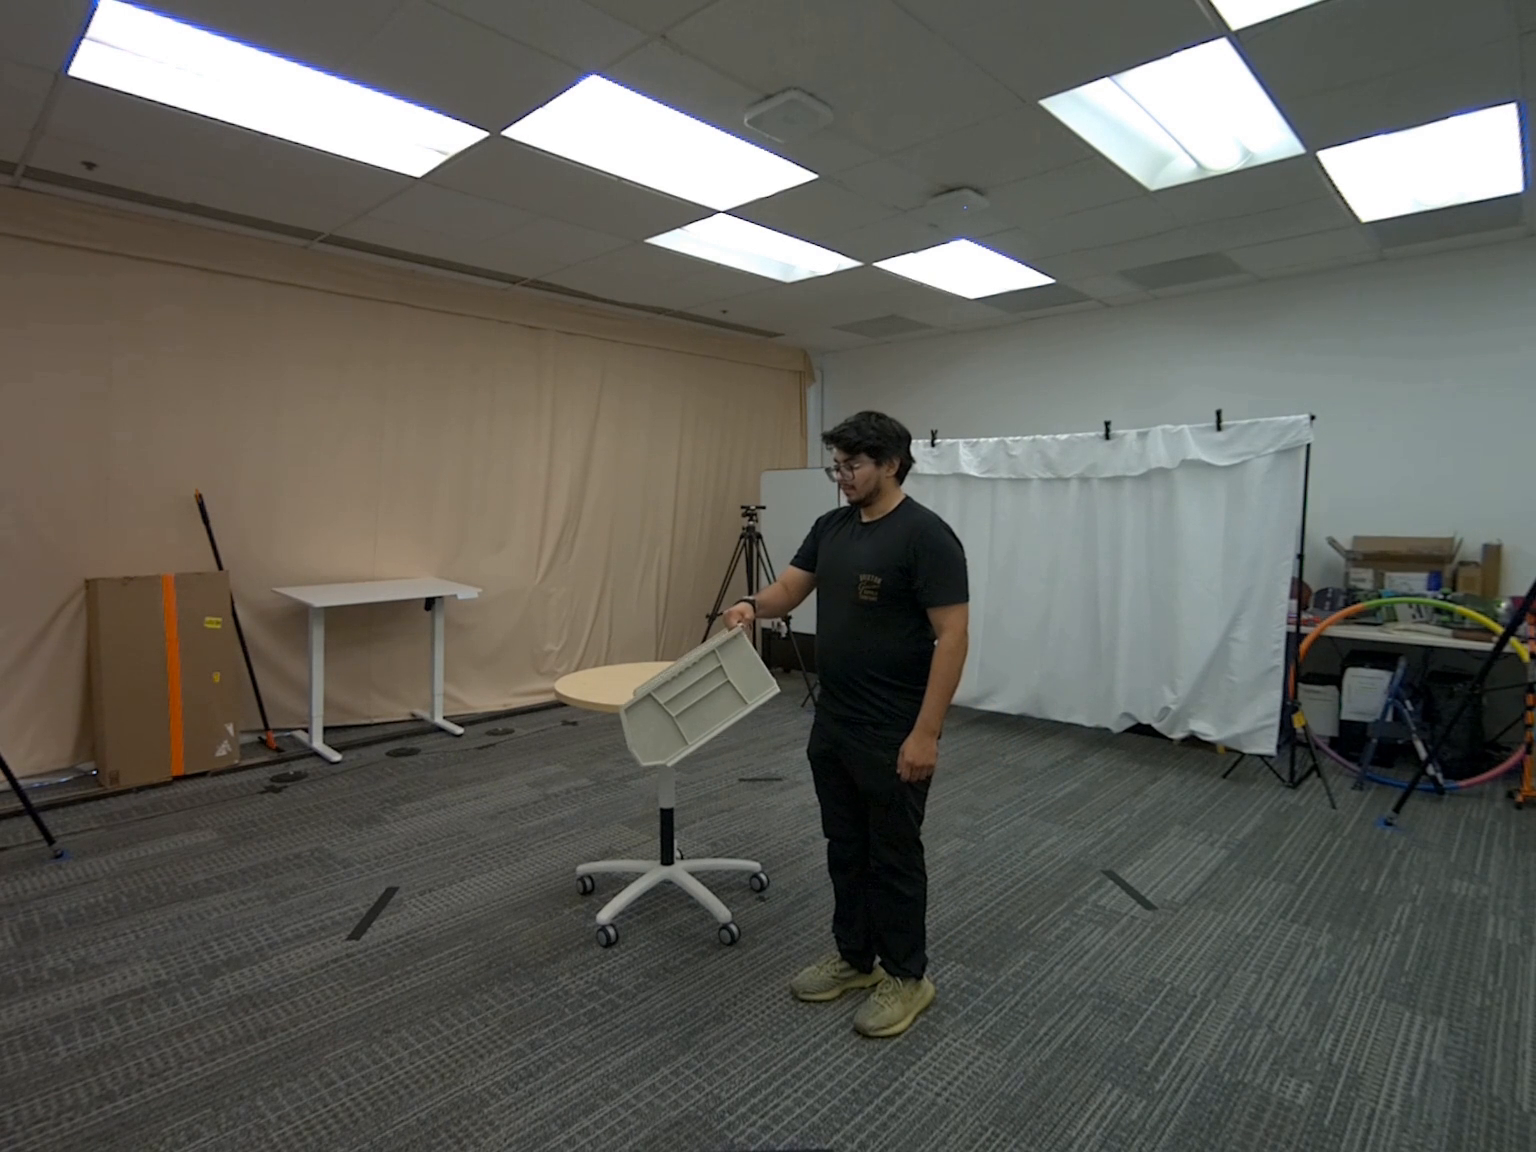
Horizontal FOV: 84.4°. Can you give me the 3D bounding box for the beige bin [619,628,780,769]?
[{"bbox_3d":[-0.178,0.300,2.134,0.377,0.189,0.422,-32,0,-3],"label":"beige bin"}]
